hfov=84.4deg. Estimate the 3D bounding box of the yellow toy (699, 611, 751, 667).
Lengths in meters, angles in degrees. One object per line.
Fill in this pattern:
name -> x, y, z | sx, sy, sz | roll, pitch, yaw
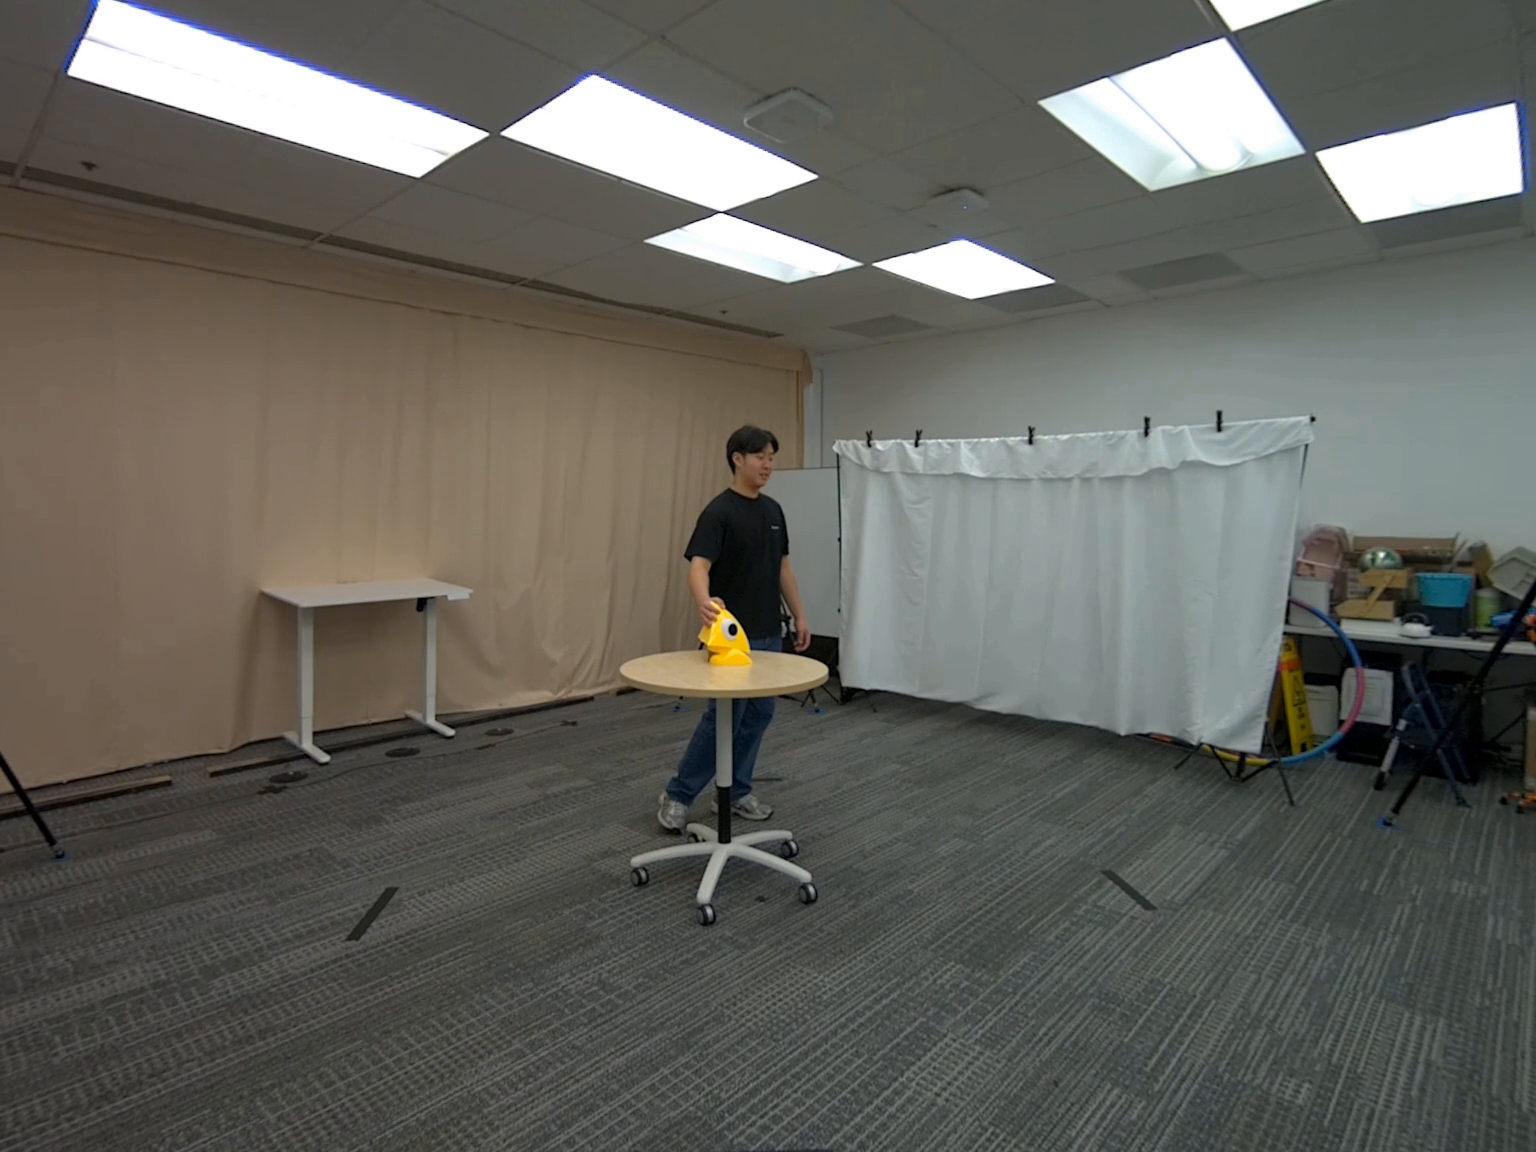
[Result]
yellow toy -> -0.160, 0.213, 3.242 | 0.190, 0.230, 0.208 | -1, 3, -13
